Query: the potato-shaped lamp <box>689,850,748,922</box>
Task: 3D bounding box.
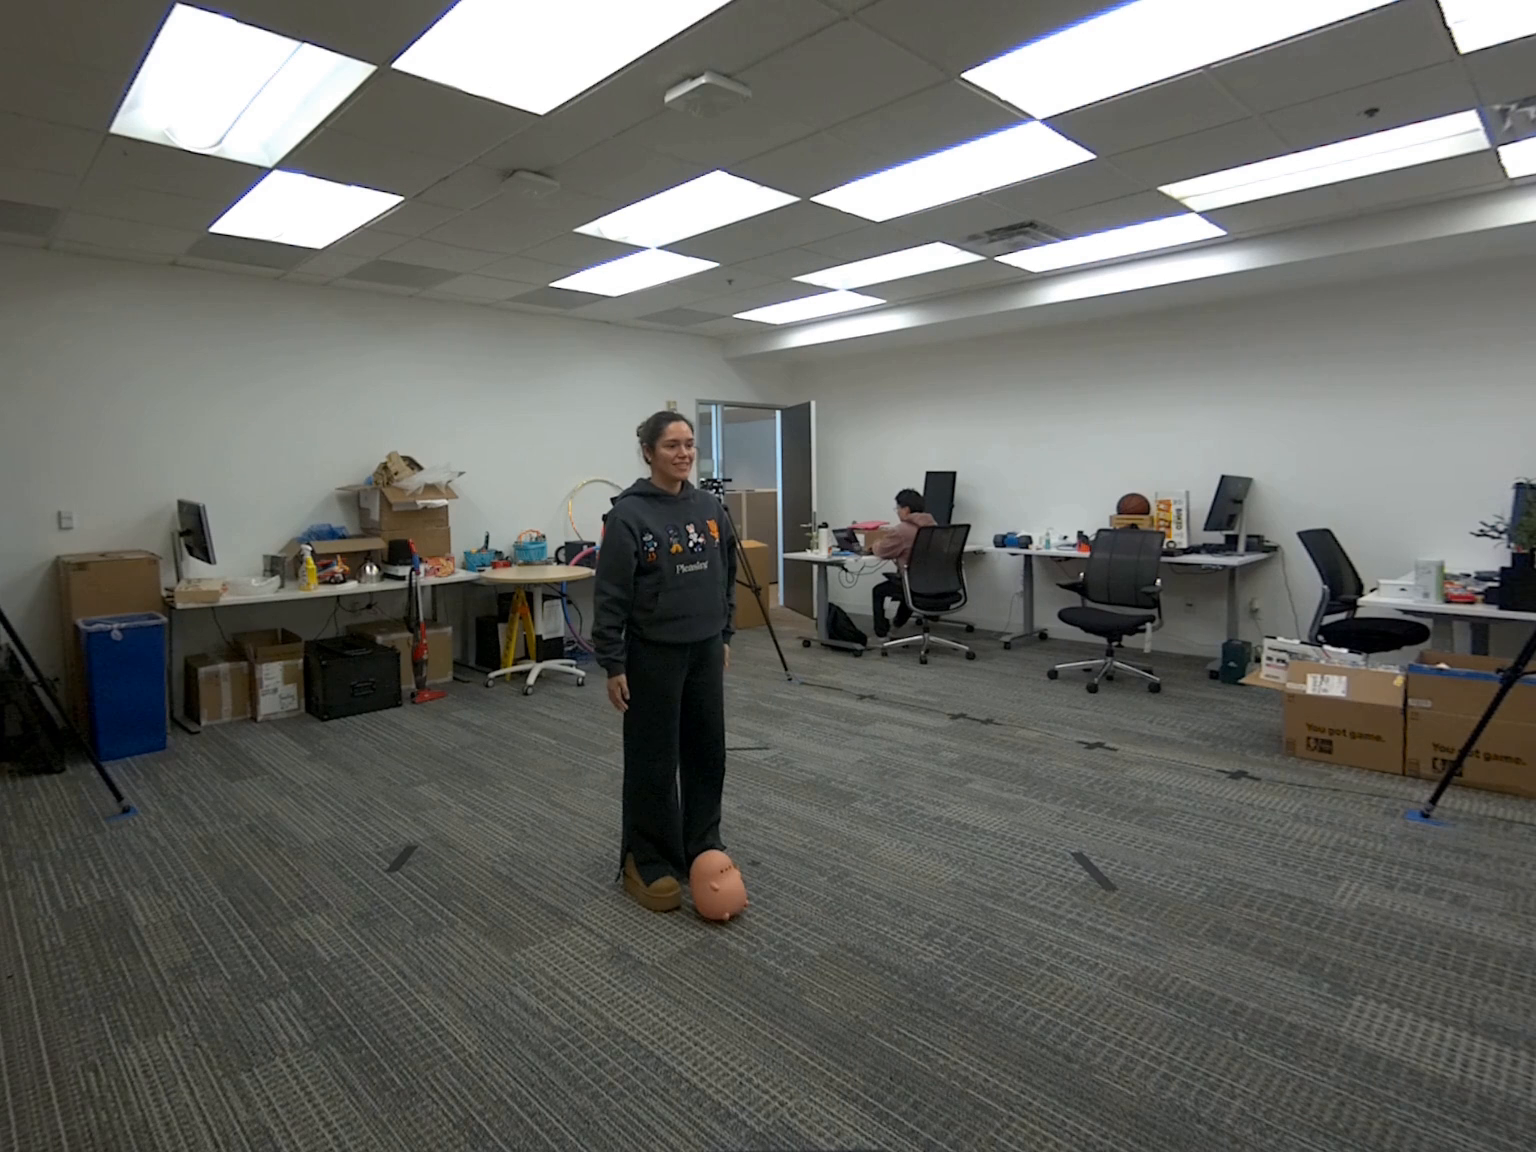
[{"bbox_3d":[-0.160,0.981,2.721,0.175,0.199,0.161,-14,-3,40],"label":"potato-shaped lamp"}]
